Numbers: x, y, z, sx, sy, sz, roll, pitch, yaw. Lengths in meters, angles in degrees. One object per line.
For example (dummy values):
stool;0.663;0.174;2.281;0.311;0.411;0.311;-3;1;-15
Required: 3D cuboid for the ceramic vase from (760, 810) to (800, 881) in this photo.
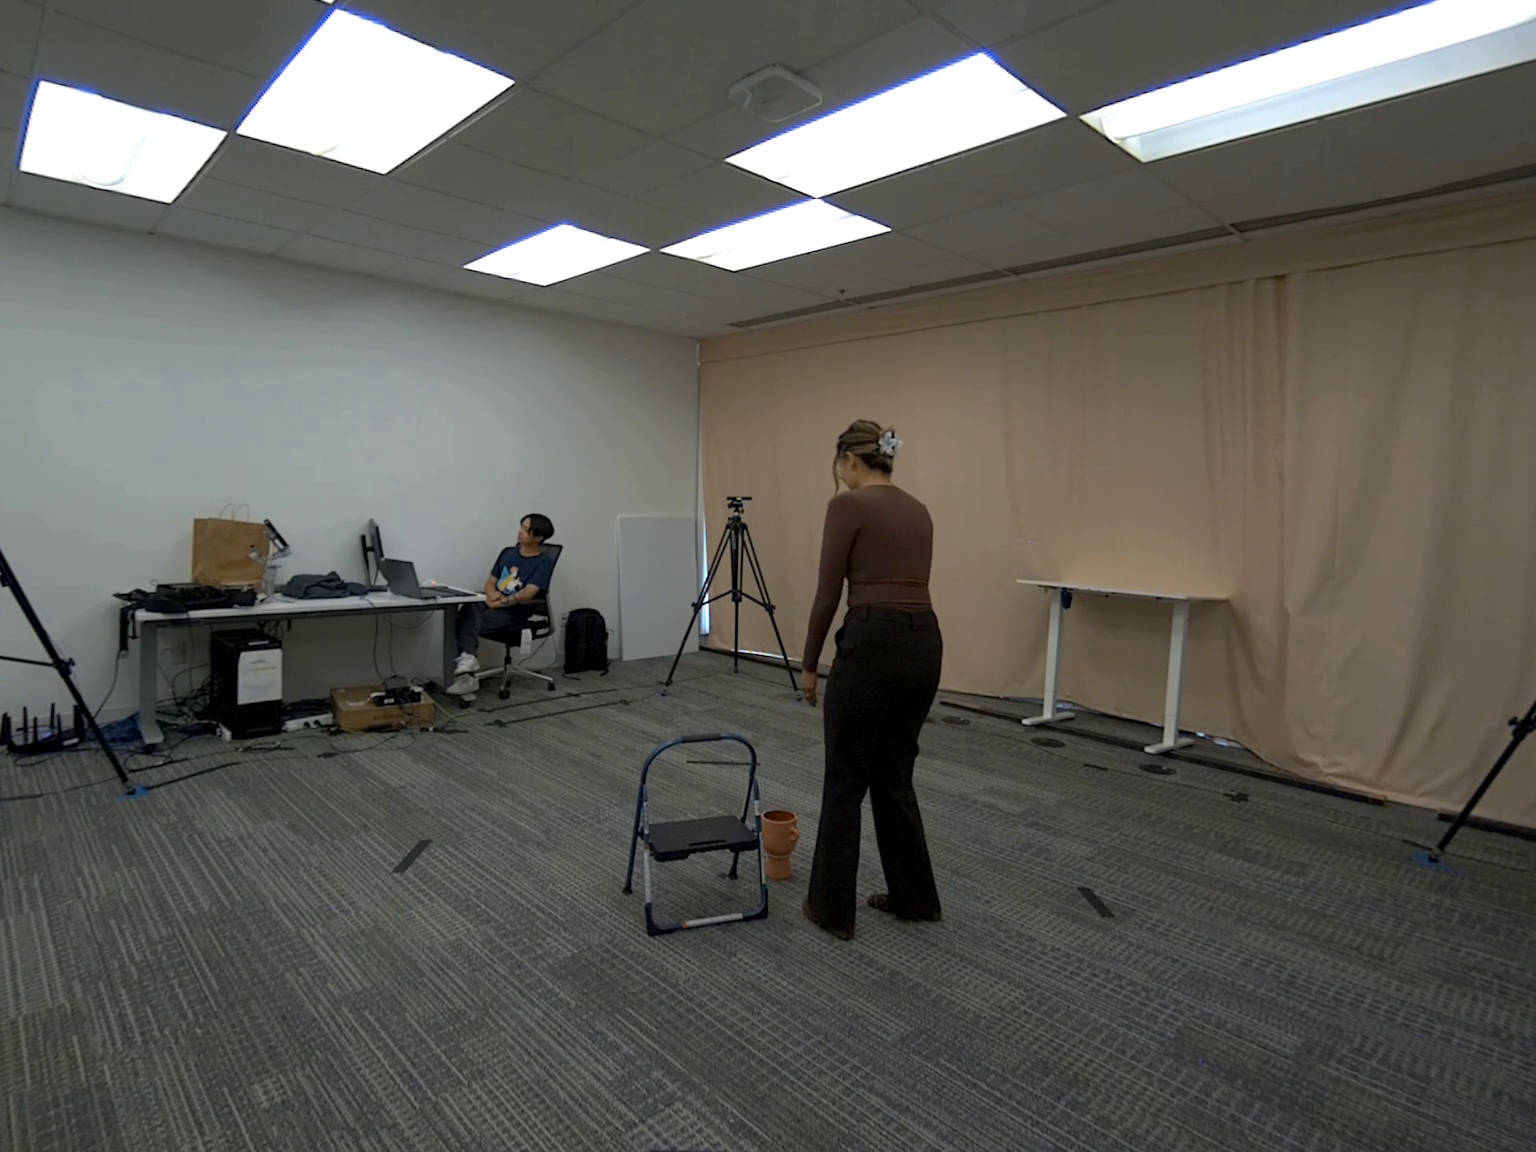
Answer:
ceramic vase;0.030;0.993;3.123;0.134;0.219;0.160;0;4;-10
